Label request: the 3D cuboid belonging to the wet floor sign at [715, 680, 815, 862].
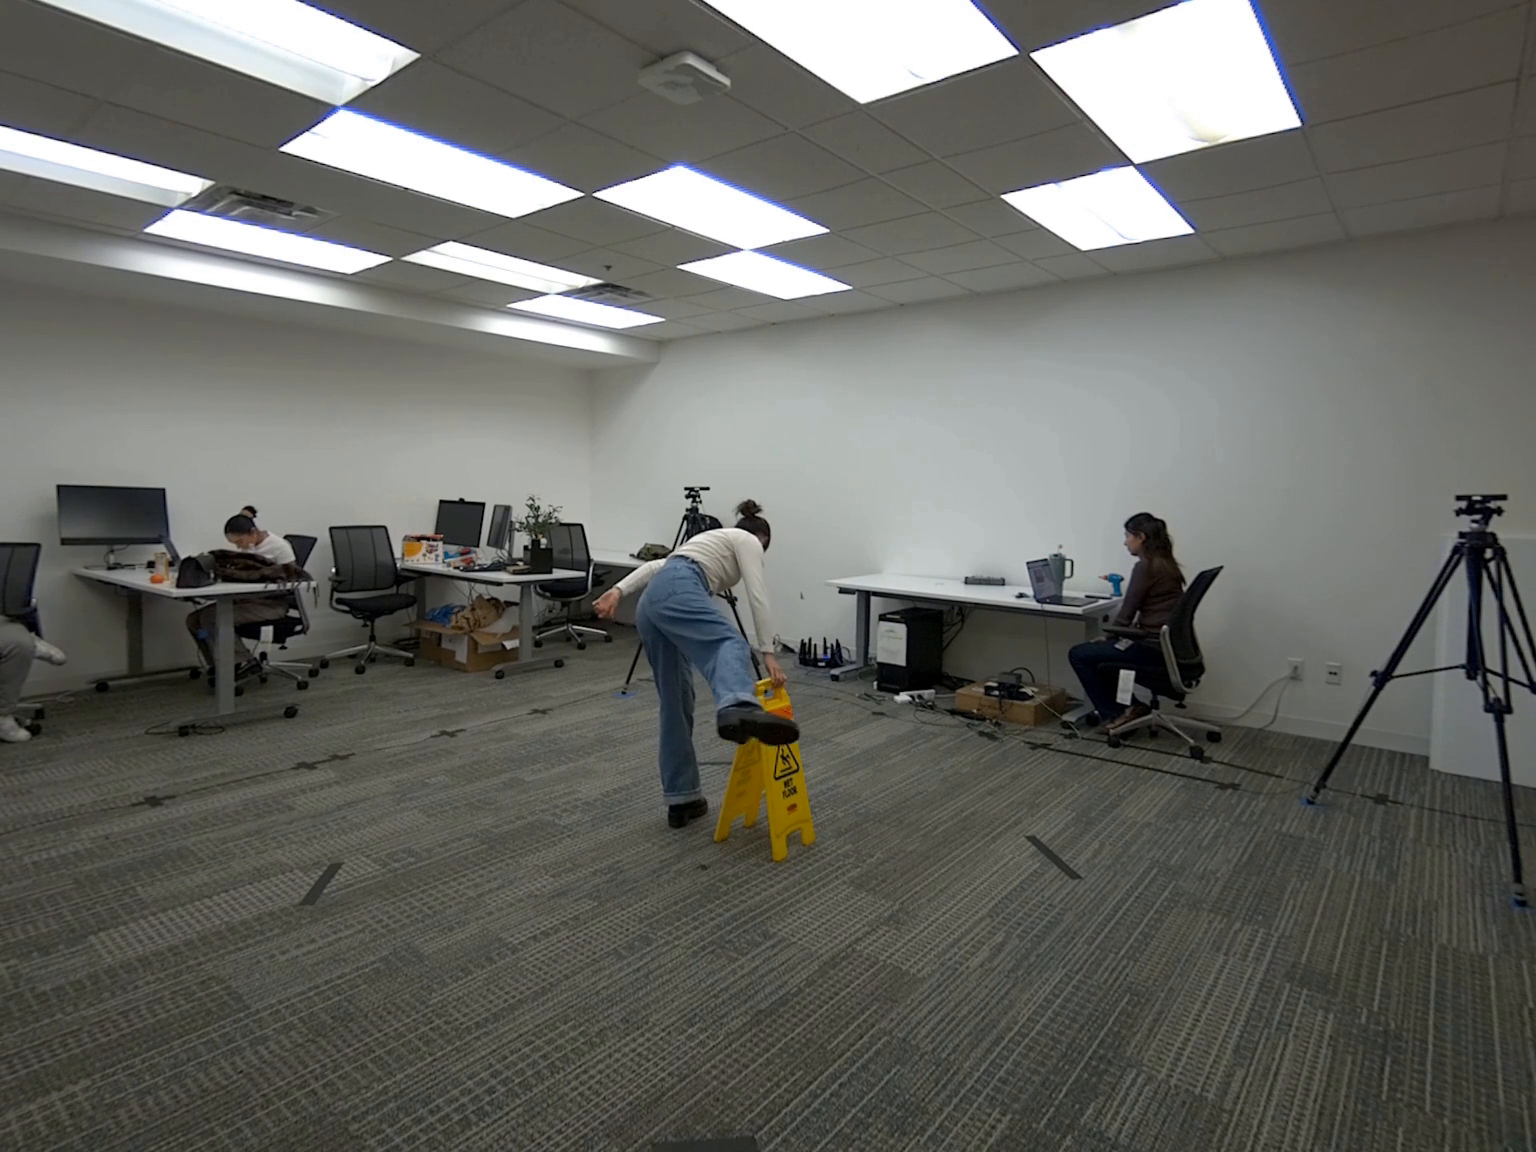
[{"bbox_3d":[-0.006,0.723,3.347,0.299,0.644,0.274,4,3,36],"label":"wet floor sign"}]
